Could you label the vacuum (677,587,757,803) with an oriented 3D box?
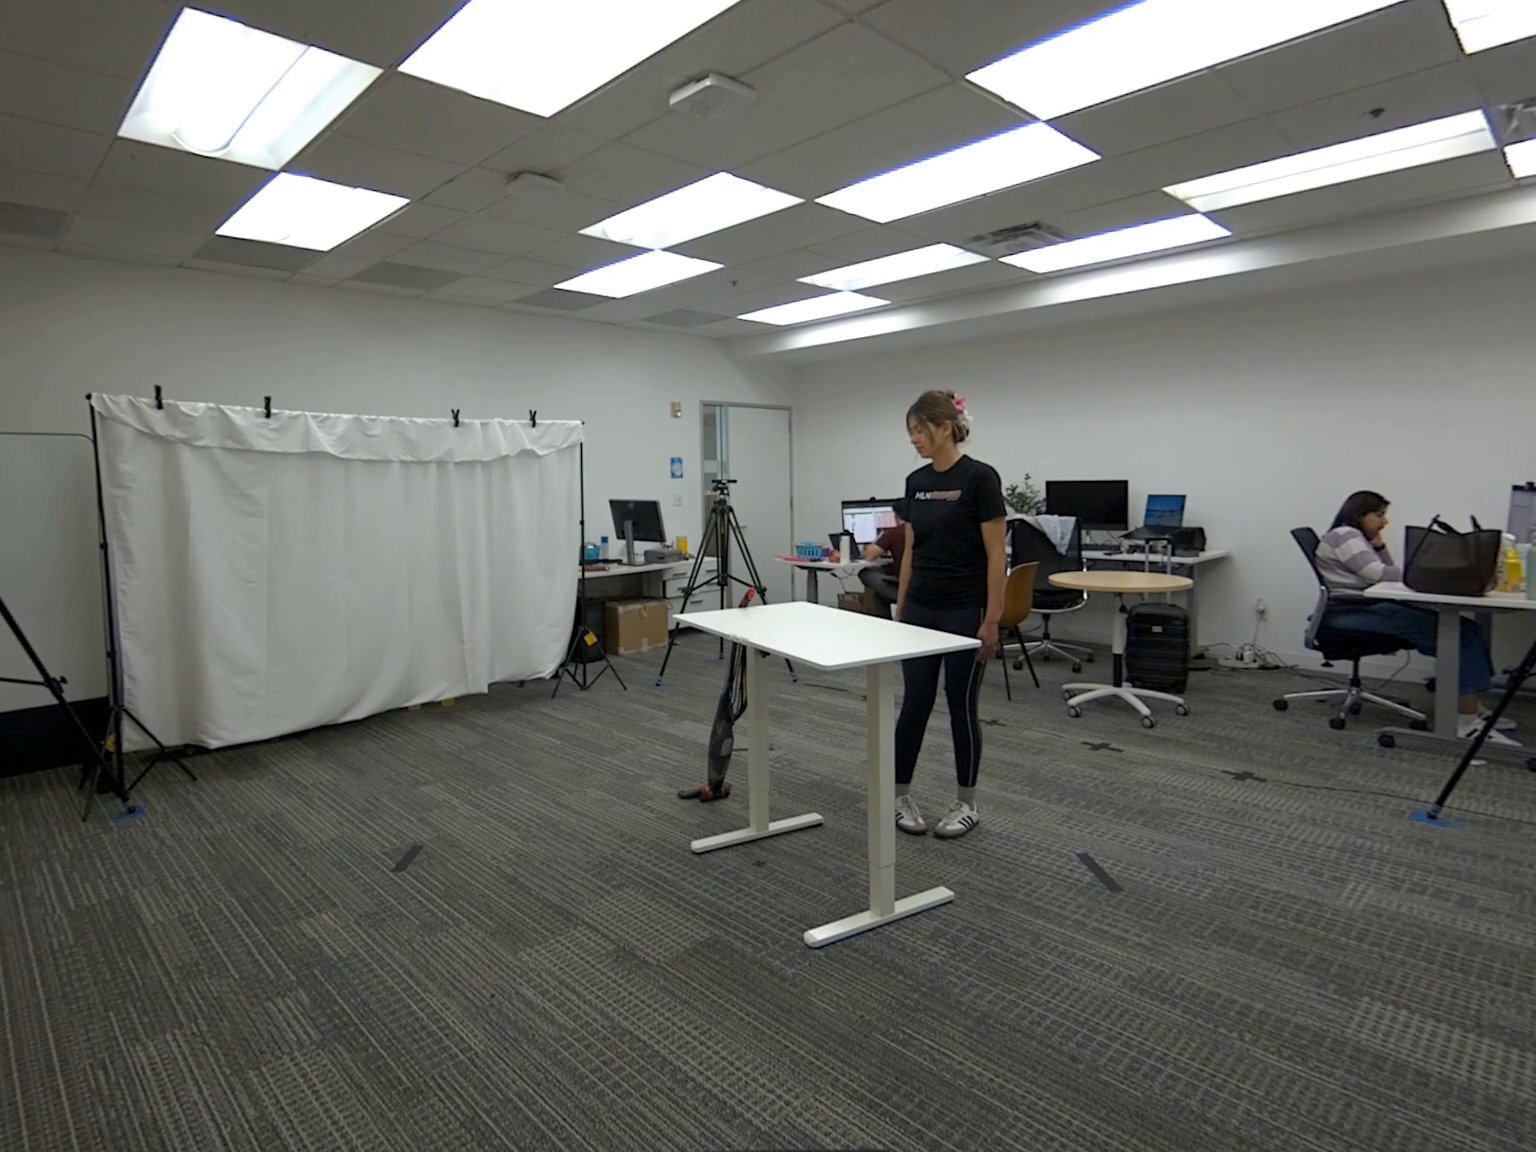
[{"bbox_3d":[-0.162,0.516,3.583,0.247,1.033,0.149,-11,33,-41],"label":"vacuum"}]
